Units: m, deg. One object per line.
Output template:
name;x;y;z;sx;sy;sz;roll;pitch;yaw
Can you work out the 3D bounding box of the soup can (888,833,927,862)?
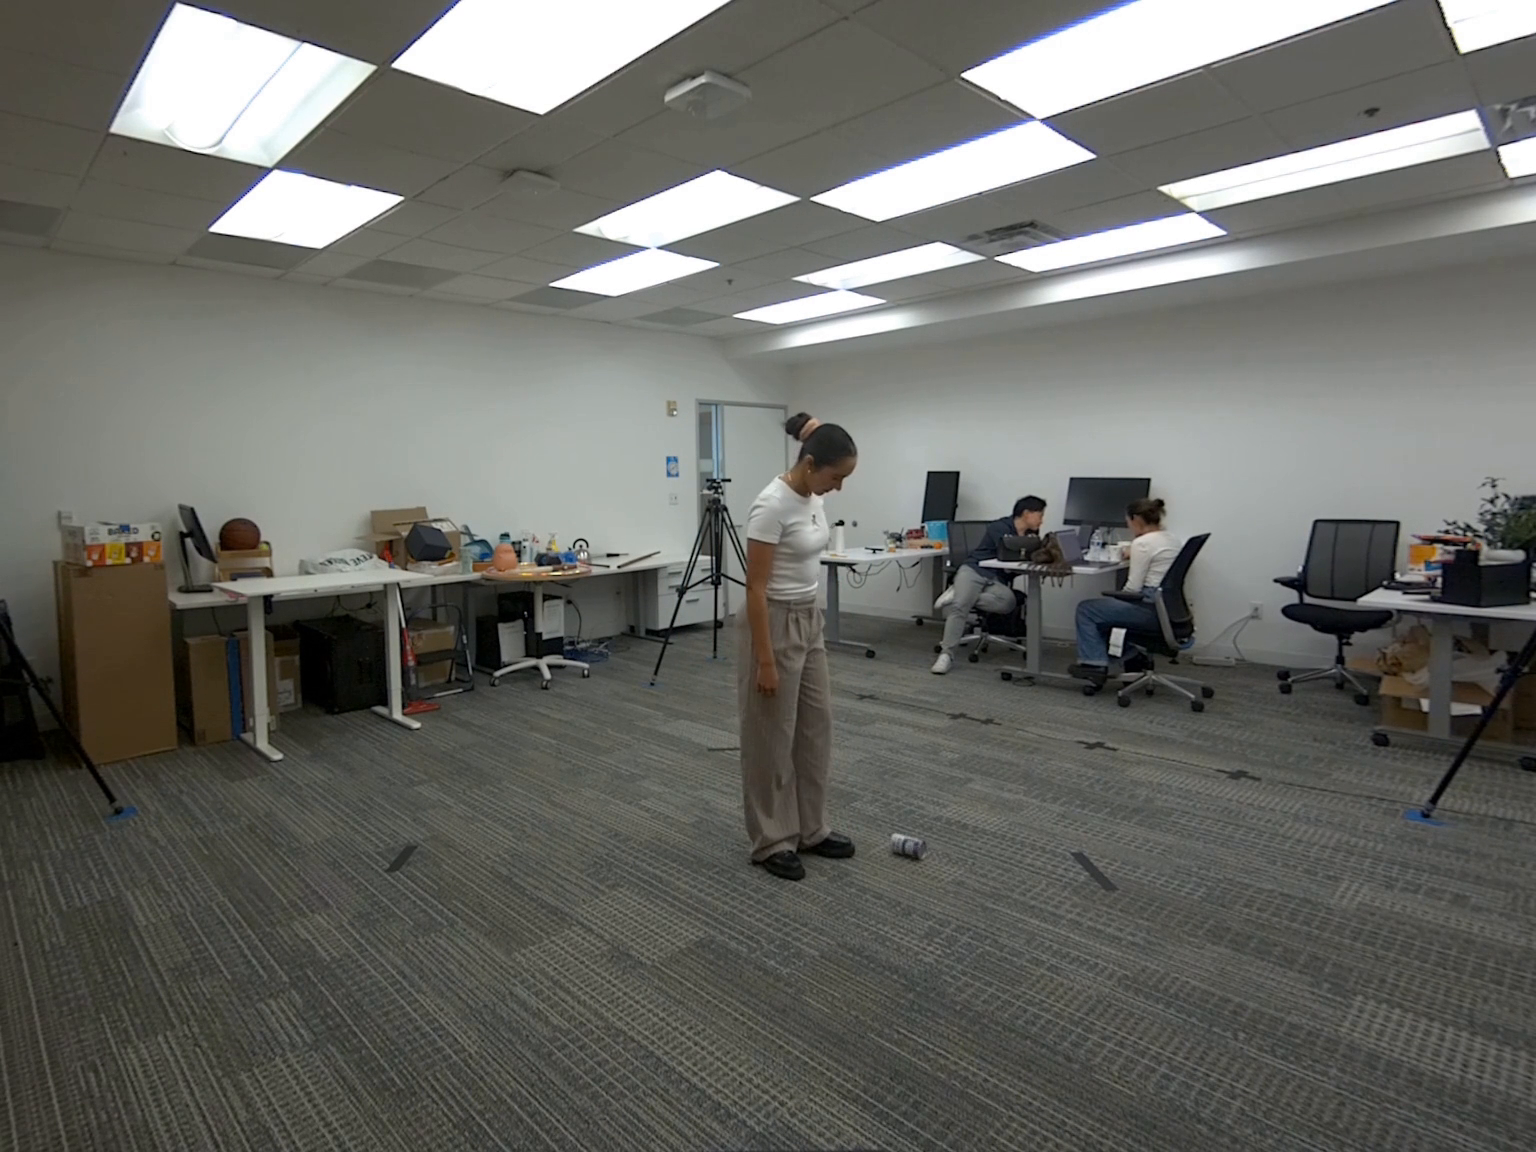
soup can;0.509;0.986;3.138;0.125;0.067;0.065;6;8;38
